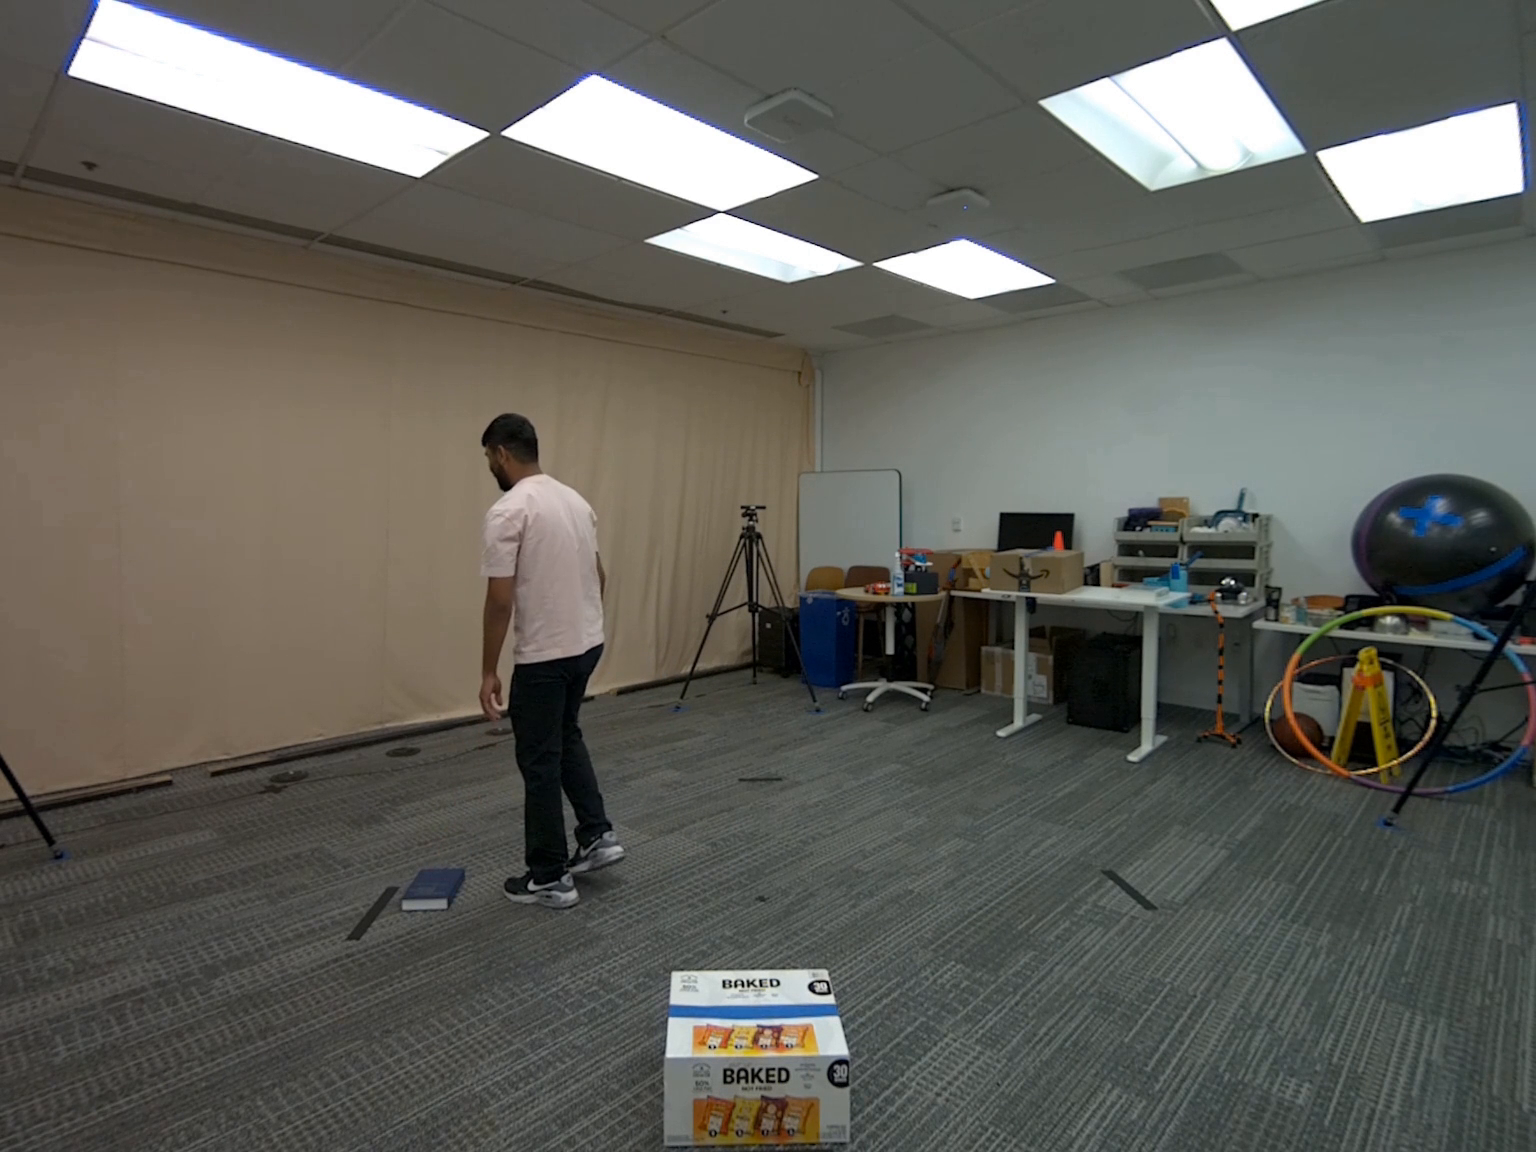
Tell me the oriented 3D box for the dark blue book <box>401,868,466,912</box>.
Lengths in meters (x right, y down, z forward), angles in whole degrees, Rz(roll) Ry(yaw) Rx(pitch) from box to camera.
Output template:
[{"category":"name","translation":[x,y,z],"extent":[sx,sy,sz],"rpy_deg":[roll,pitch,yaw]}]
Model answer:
[{"category":"dark blue book","translation":[-1.206,1.129,3.035],"extent":[0.162,0.045,0.247],"rpy_deg":[-1,4,-6]}]
